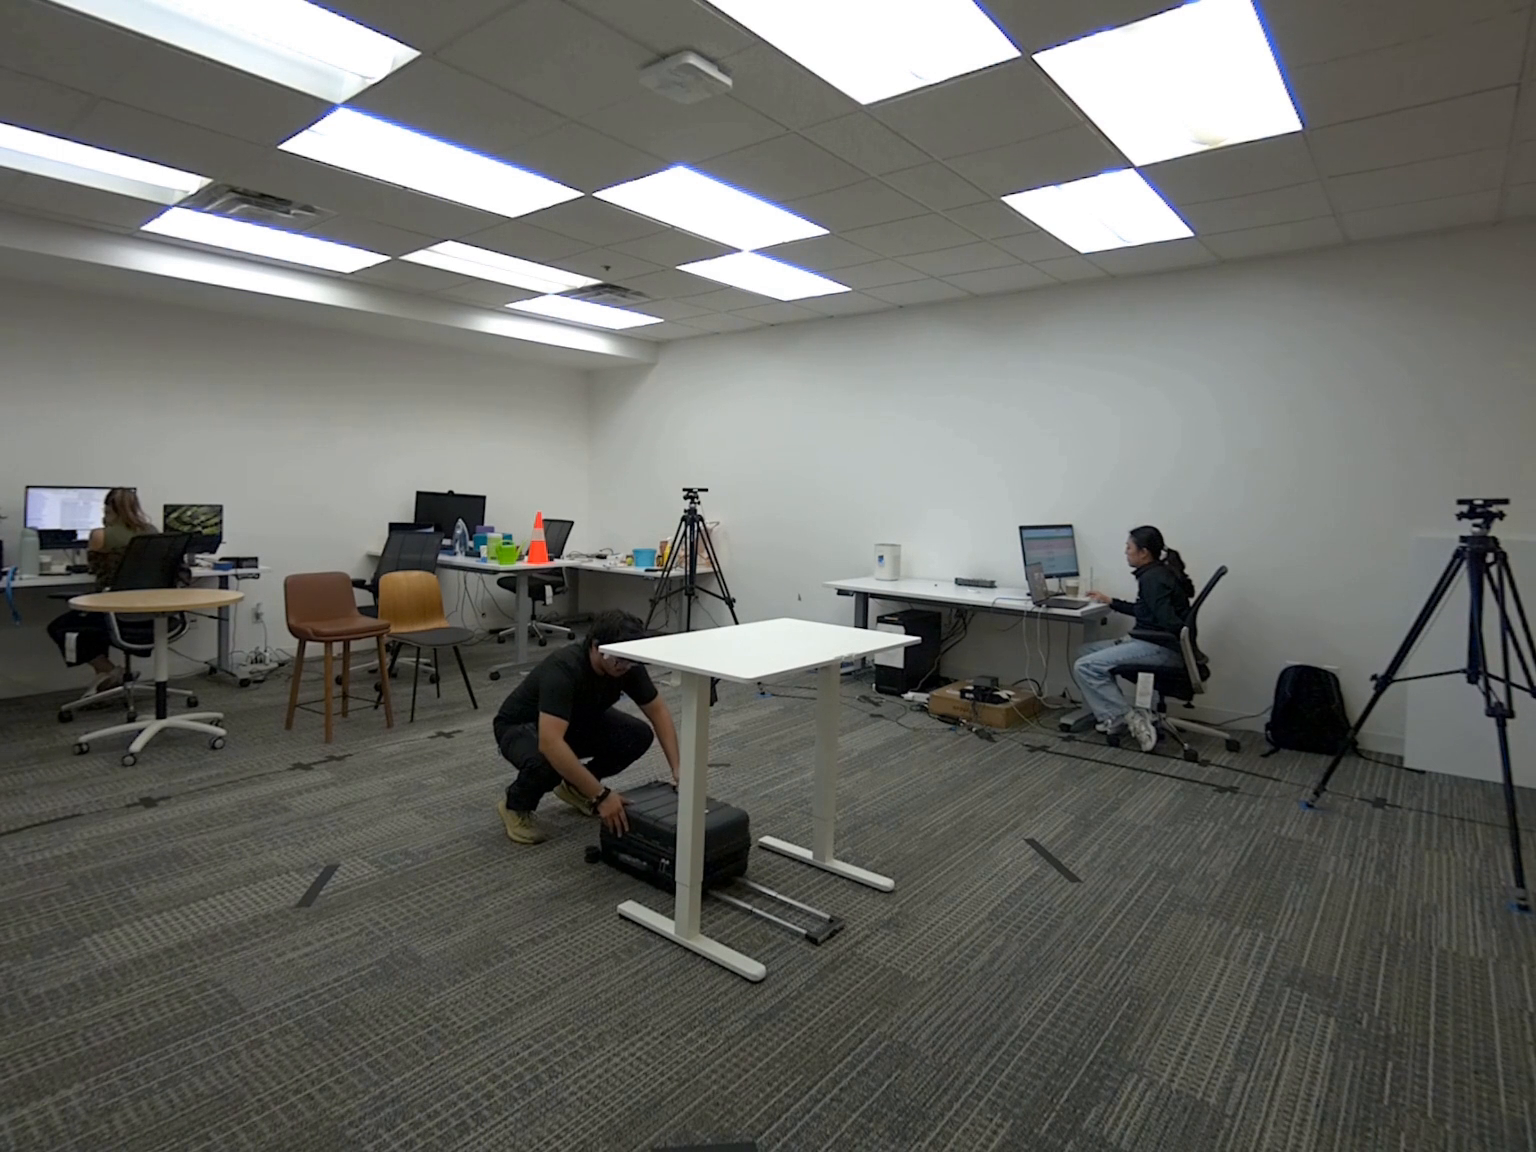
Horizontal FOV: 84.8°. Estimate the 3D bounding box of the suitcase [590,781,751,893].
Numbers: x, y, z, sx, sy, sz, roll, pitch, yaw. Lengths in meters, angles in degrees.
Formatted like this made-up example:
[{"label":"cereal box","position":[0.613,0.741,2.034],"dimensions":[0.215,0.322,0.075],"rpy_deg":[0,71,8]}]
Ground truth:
[{"label":"suitcase","position":[-0.195,0.958,2.974],"dimensions":[1.011,0.256,0.372],"rpy_deg":[5,4,40]}]
